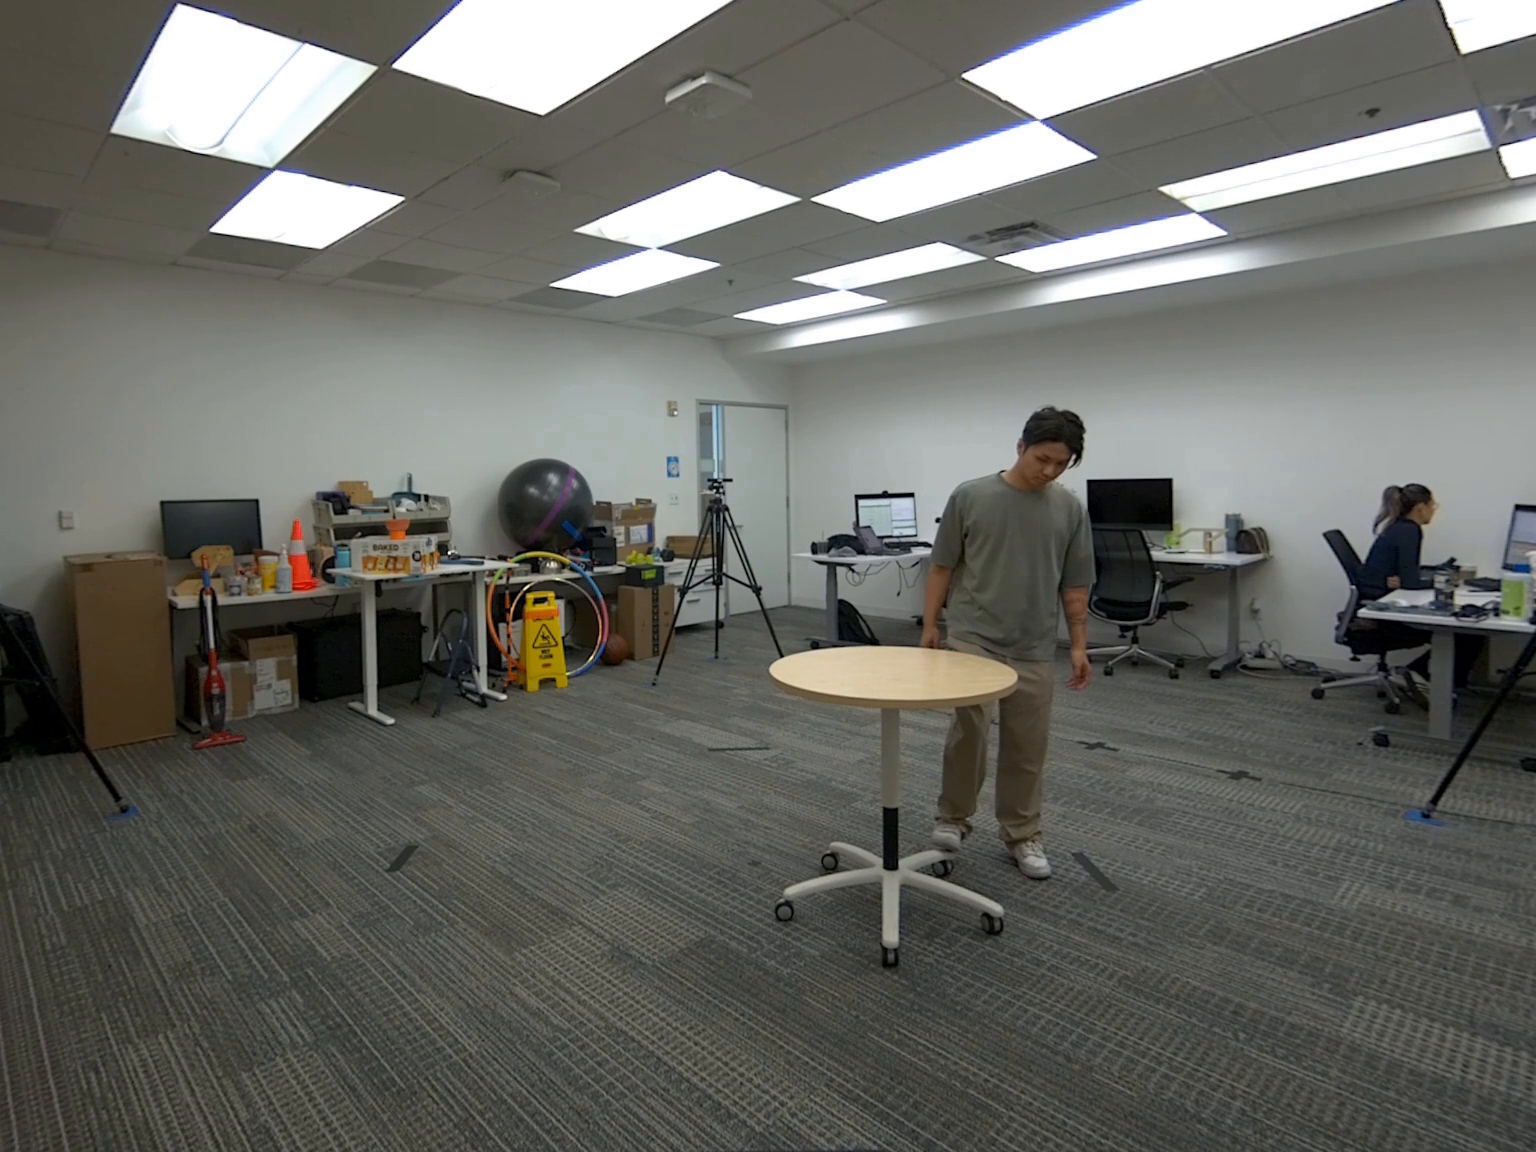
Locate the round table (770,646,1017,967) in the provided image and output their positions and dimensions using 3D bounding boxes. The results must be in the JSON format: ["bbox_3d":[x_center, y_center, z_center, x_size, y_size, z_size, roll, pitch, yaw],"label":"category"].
[{"bbox_3d":[0.386,0.682,2.746,0.784,0.783,0.789,-1,5,-2],"label":"round table"}]
